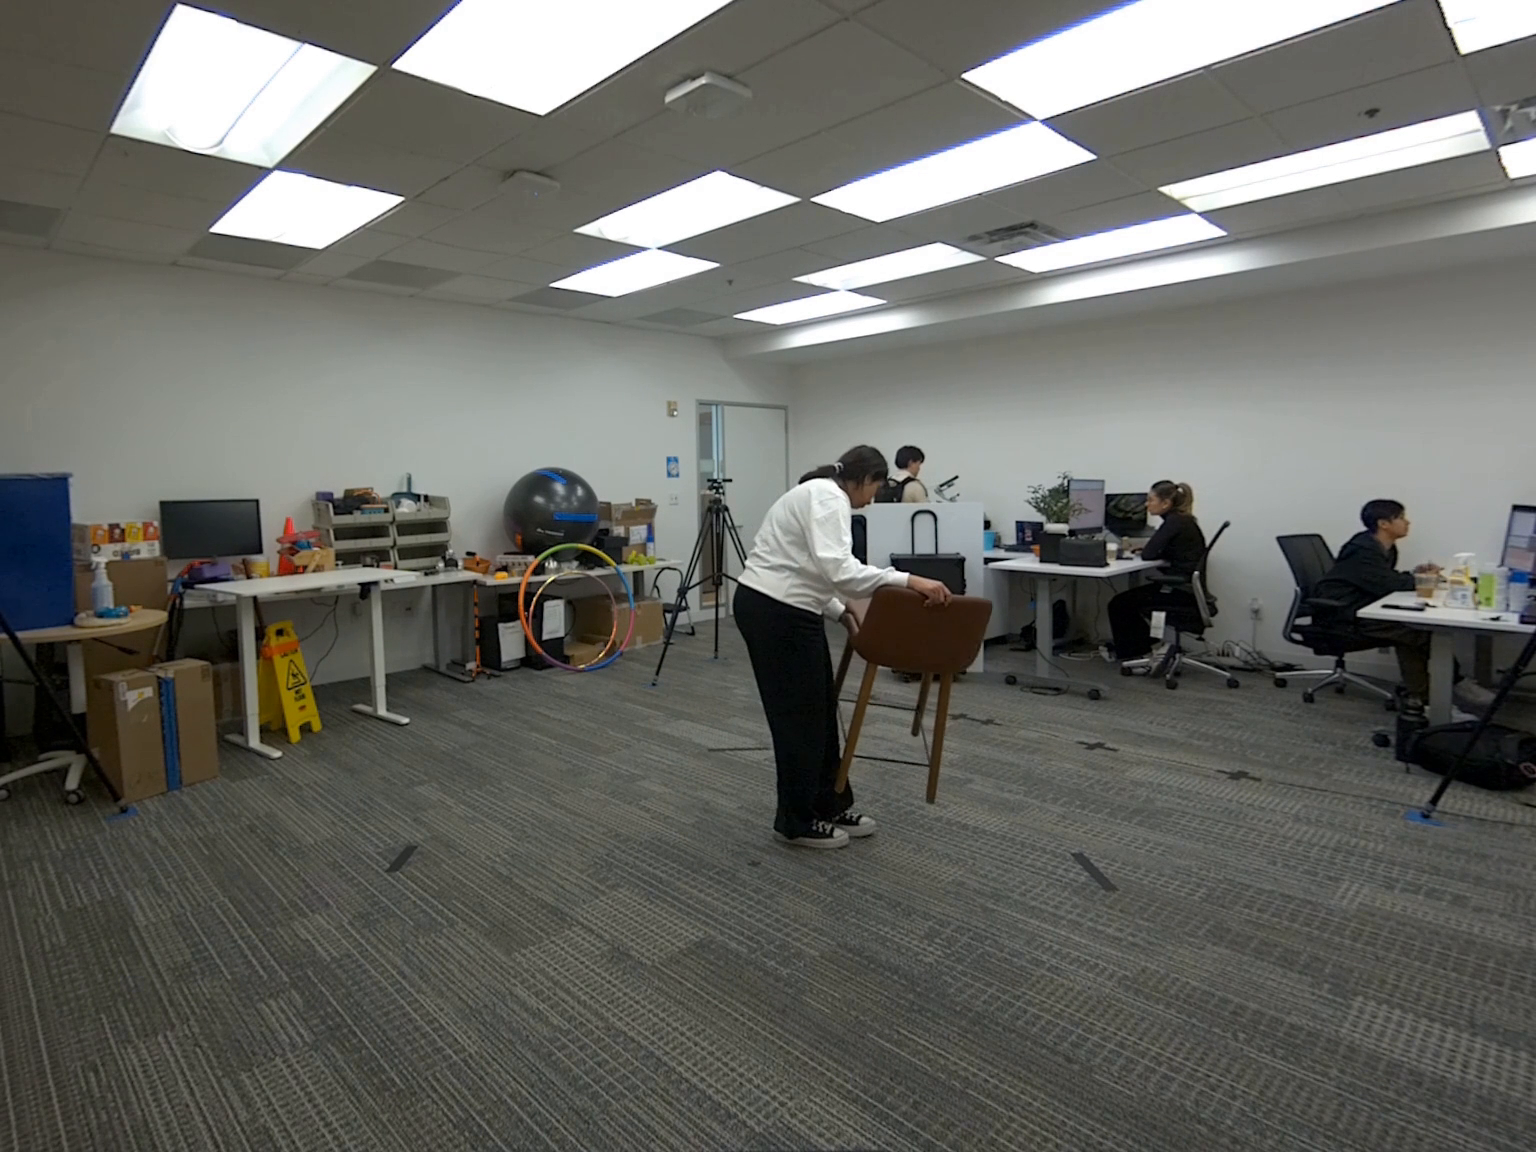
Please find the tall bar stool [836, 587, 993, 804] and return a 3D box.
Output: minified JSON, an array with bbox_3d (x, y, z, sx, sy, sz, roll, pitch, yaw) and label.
[{"bbox_3d":[0.503,0.355,3.230,0.456,0.874,0.476,8,25,-2],"label":"tall bar stool"}]
